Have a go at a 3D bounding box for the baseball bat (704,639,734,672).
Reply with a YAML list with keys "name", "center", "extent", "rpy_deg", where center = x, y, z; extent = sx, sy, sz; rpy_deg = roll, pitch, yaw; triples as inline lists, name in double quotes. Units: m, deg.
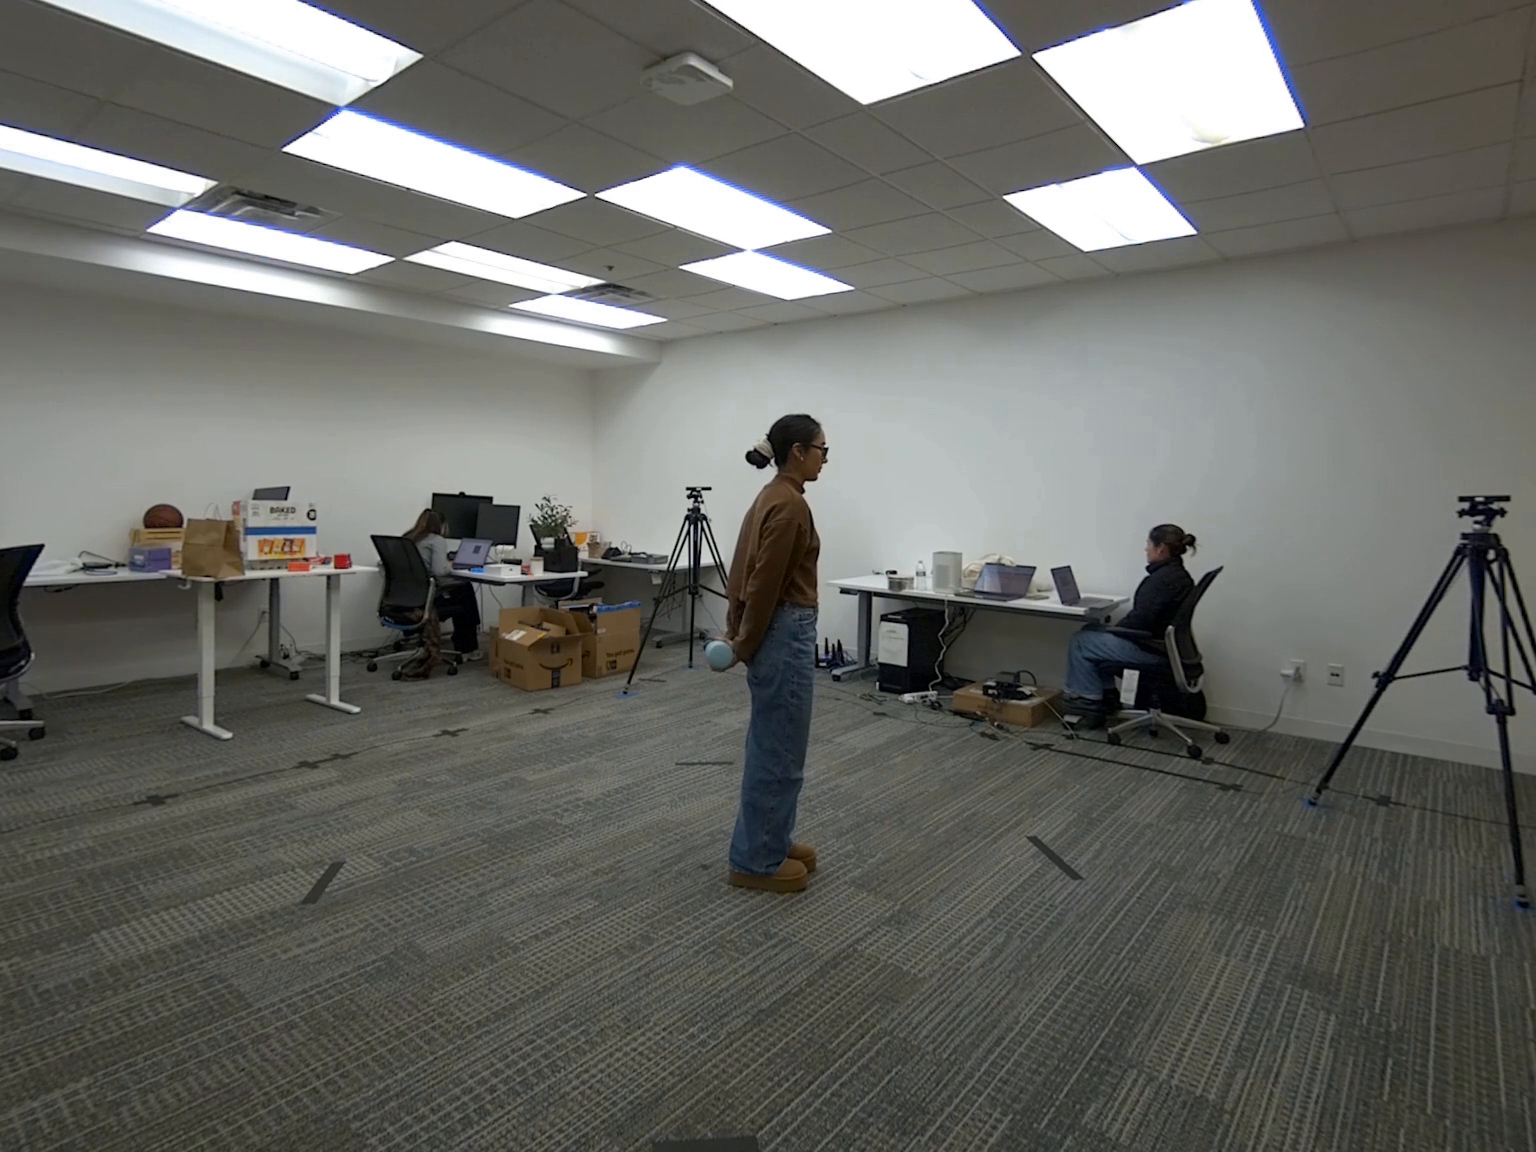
- name: "baseball bat"
  center: [-0.216, 0.264, 3.057]
  extent: [0.088, 0.089, 0.548]
  rpy_deg: [0, 0, -11]
